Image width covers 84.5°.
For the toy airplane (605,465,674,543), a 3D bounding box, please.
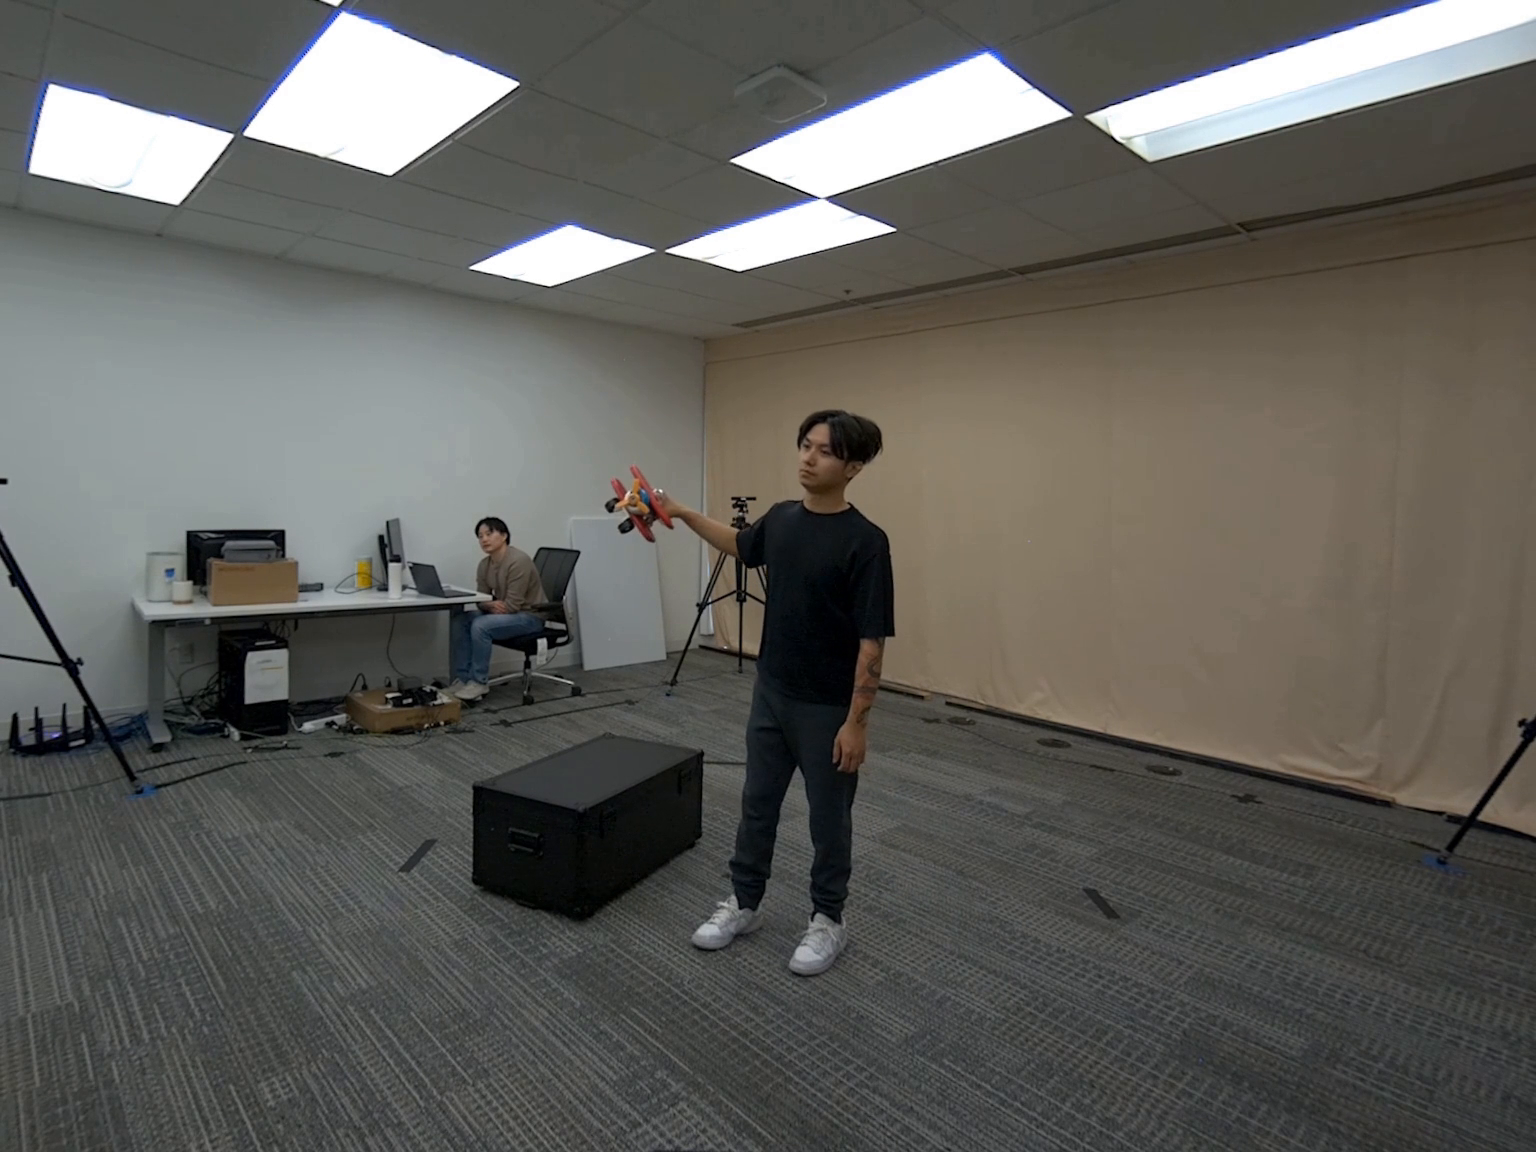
[{"bbox_3d":[-0.437,-0.246,2.812,0.157,0.247,0.262,-35,16,21],"label":"toy airplane"}]
